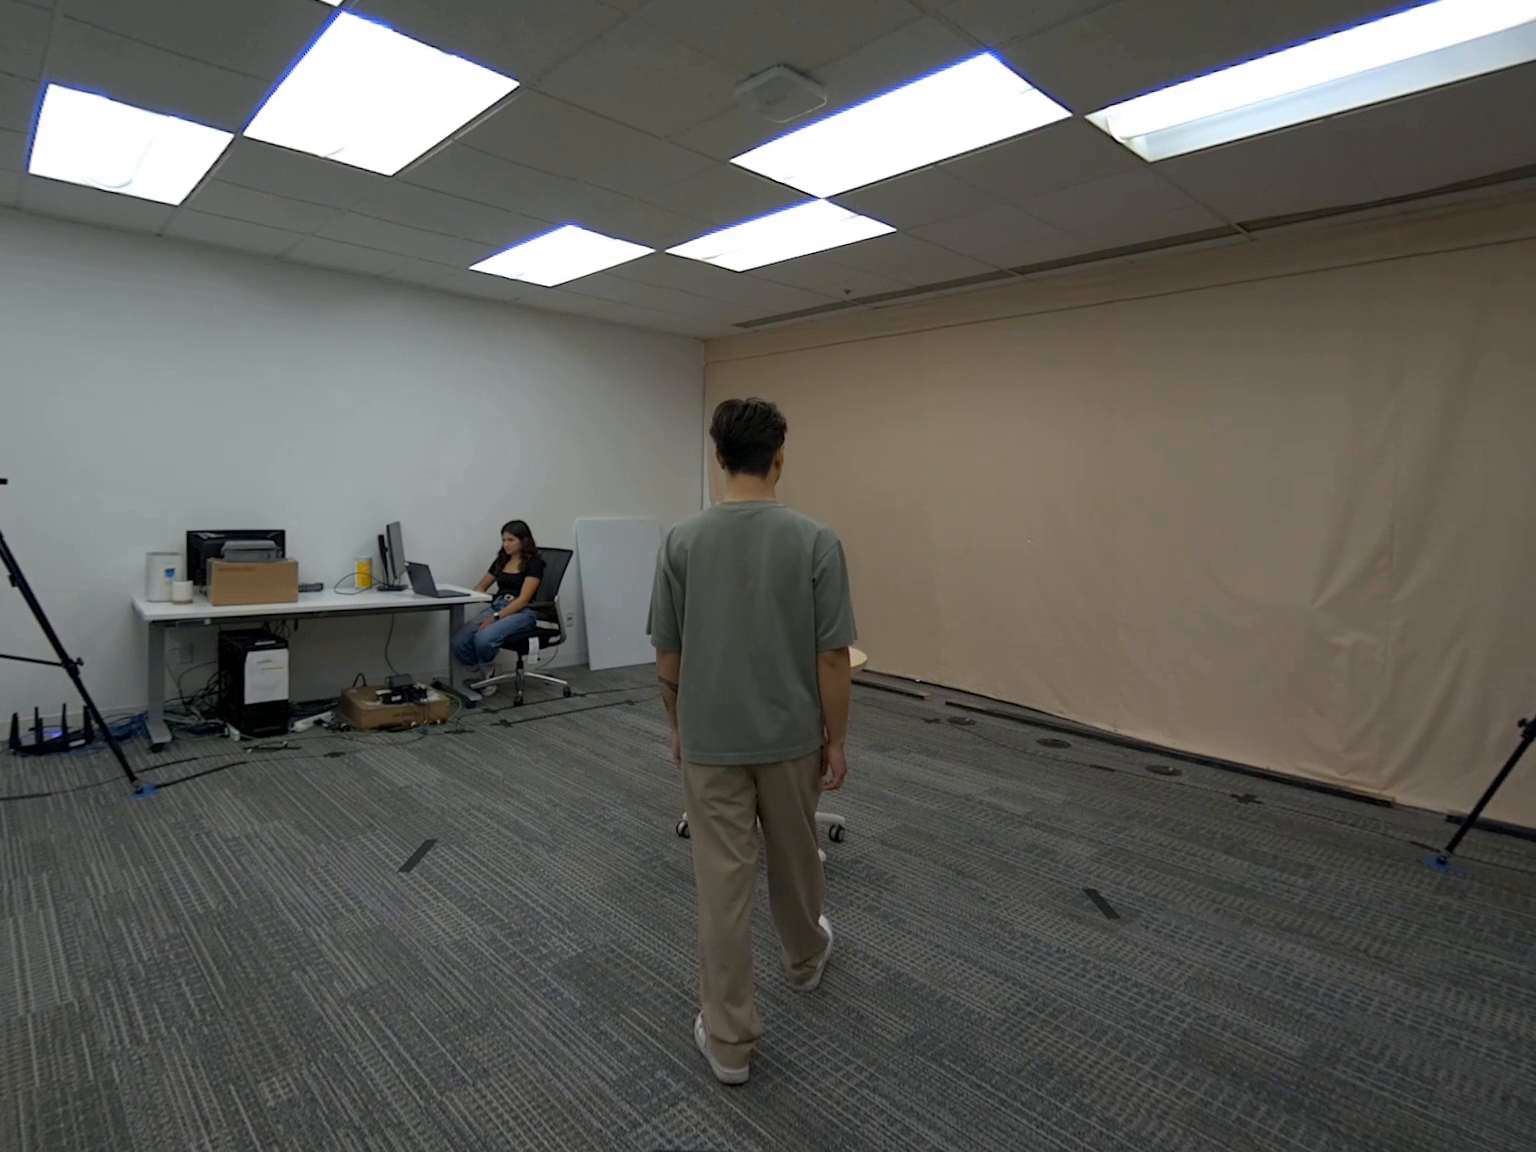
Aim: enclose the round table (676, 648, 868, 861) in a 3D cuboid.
[{"bbox_3d":[-0.027,0.696,3.364,0.784,0.784,0.788,1,4,-1],"label":"round table"}]
